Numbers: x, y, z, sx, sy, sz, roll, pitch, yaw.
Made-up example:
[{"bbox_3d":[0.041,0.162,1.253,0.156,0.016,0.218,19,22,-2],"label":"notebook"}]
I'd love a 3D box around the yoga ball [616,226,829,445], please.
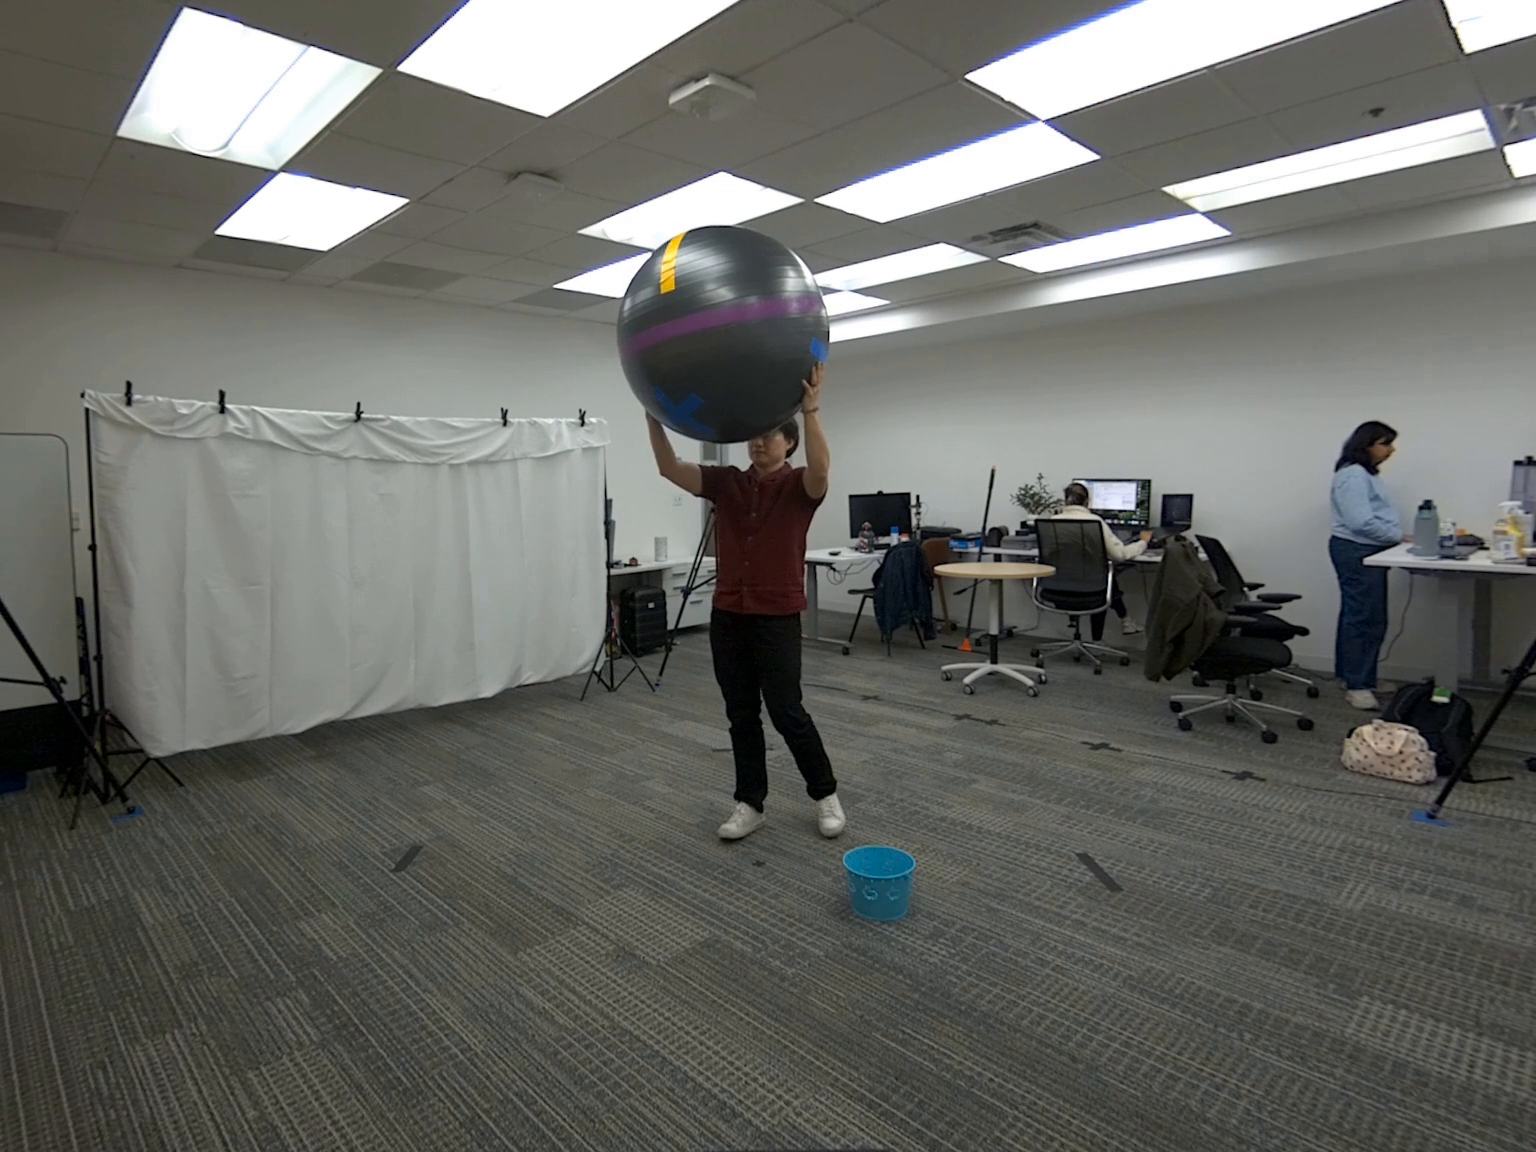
[{"bbox_3d":[-0.153,-0.851,3.051,0.757,0.755,0.762,-1,5,-2],"label":"yoga ball"}]
